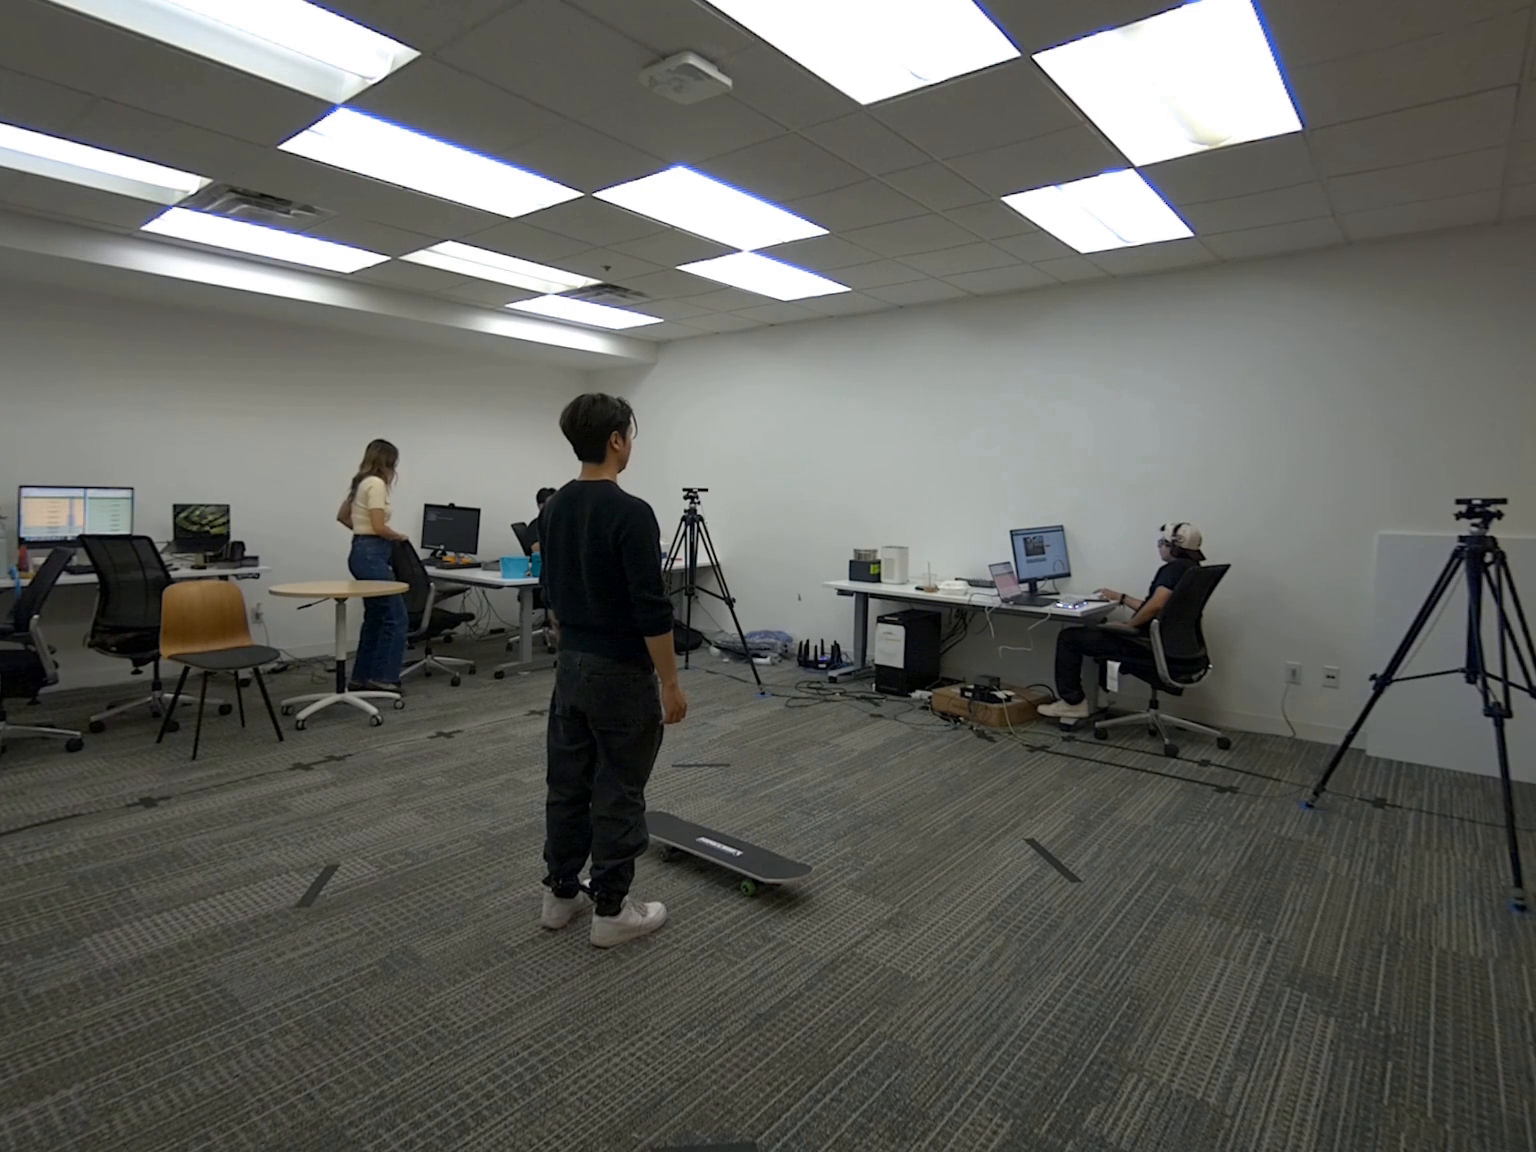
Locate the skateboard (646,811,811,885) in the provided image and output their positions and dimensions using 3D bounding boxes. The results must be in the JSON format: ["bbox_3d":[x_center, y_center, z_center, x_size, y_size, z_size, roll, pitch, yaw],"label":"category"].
[{"bbox_3d":[-0.192,1.011,3.097,0.812,0.110,0.188,6,7,39],"label":"skateboard"}]
